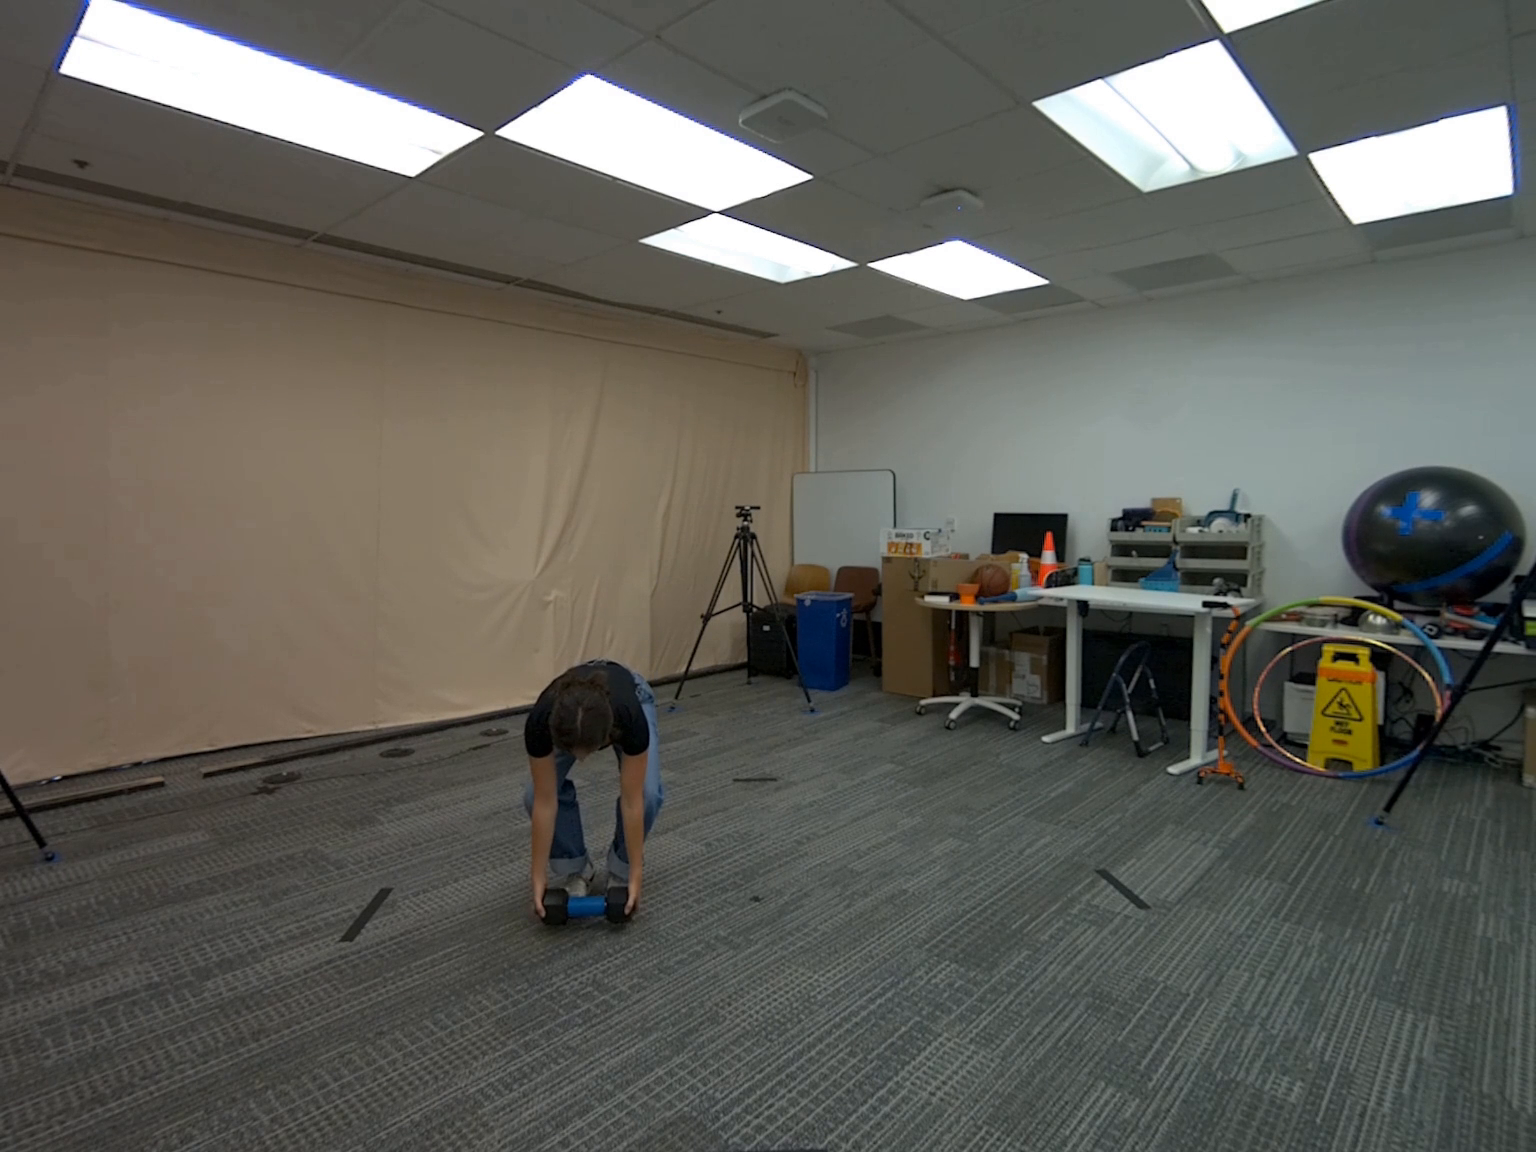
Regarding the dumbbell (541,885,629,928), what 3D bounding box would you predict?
[{"bbox_3d":[-0.592,1.084,2.782,0.293,0.107,0.125,-2,33,-1],"label":"dumbbell"}]
